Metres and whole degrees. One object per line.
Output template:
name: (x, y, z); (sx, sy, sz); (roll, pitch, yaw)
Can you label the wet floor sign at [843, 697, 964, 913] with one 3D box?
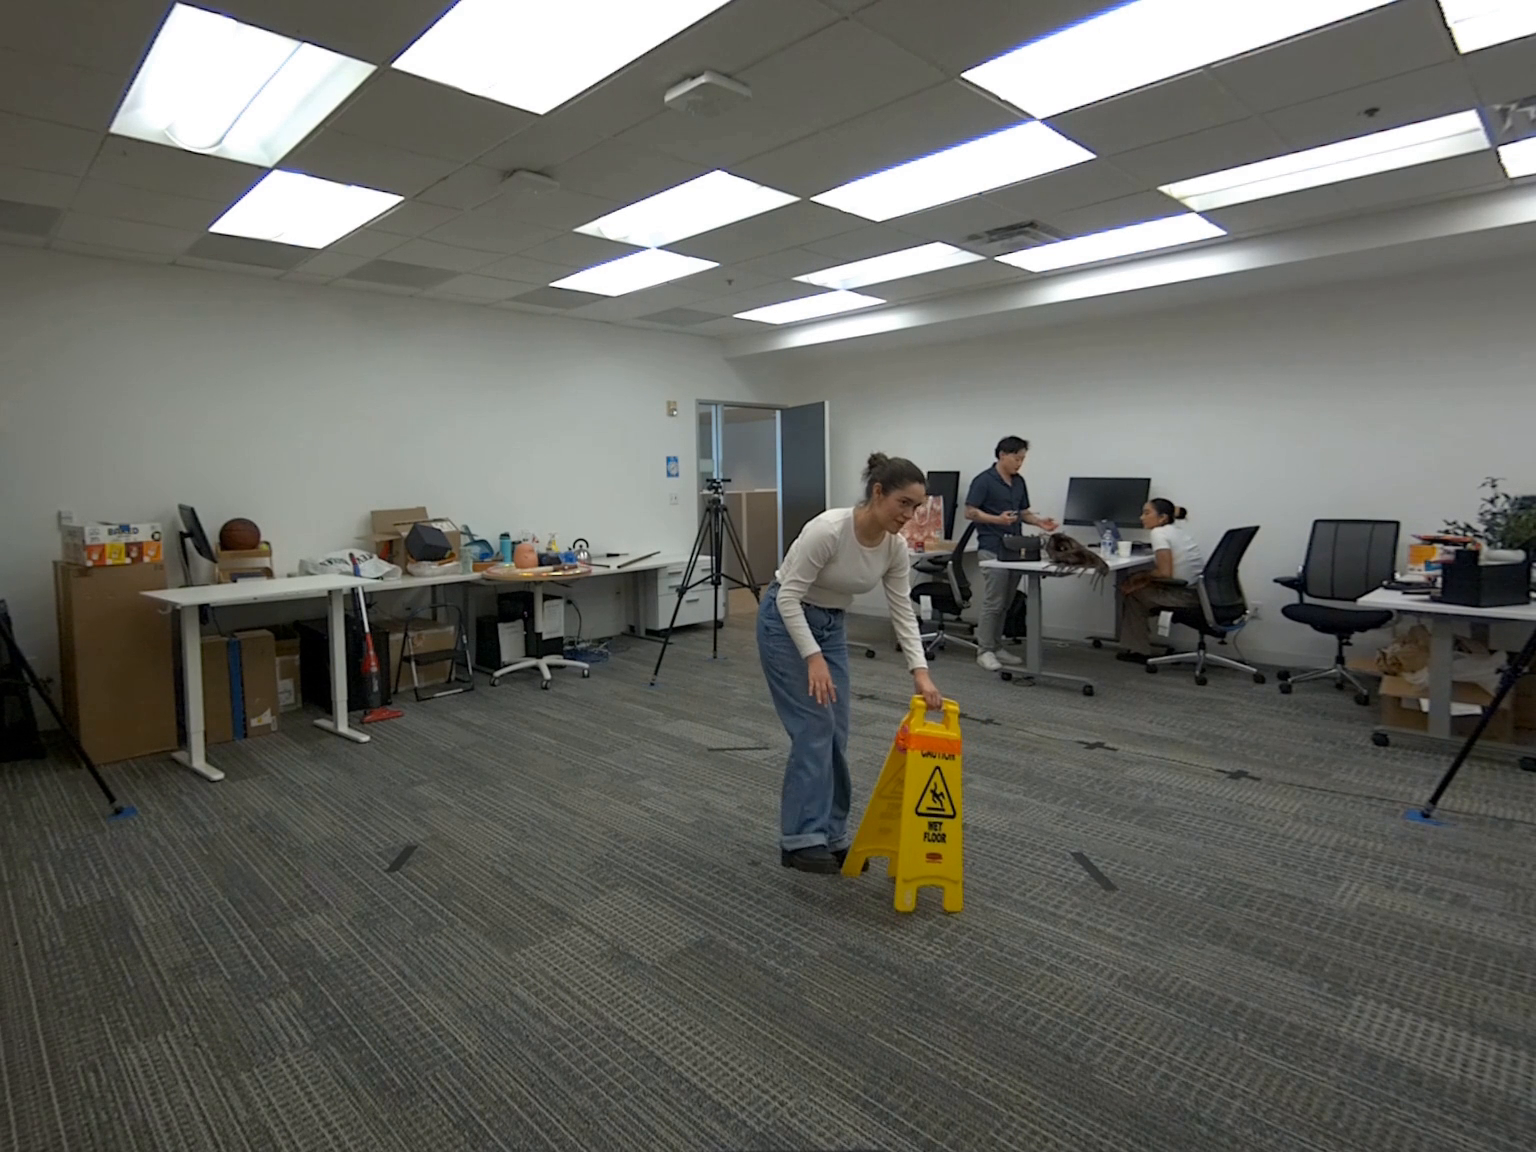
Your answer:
wet floor sign: (0.496, 0.719, 2.828); (0.274, 0.648, 0.298); (15, -5, -31)
